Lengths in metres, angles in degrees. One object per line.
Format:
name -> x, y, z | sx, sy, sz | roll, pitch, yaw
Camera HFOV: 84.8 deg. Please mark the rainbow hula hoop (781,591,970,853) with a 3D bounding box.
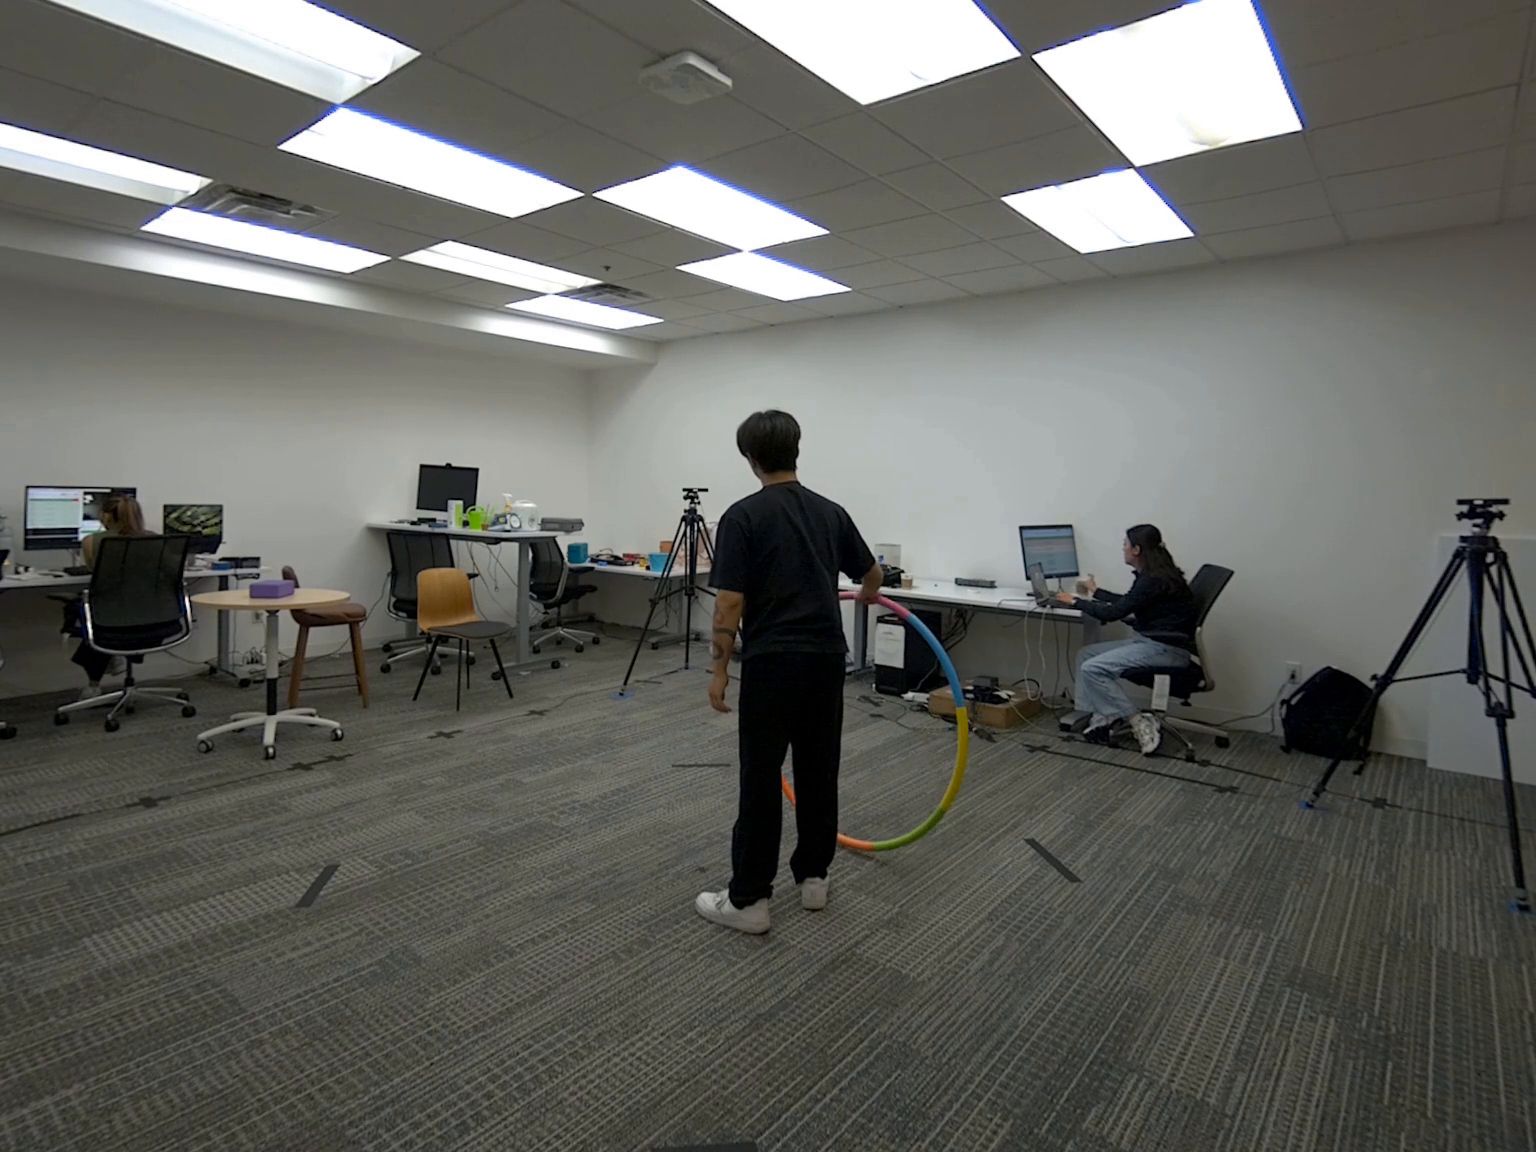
rainbow hula hoop -> 0.311, 0.547, 3.326 | 1.012, 0.978, 0.034 | 5, 1, 44
